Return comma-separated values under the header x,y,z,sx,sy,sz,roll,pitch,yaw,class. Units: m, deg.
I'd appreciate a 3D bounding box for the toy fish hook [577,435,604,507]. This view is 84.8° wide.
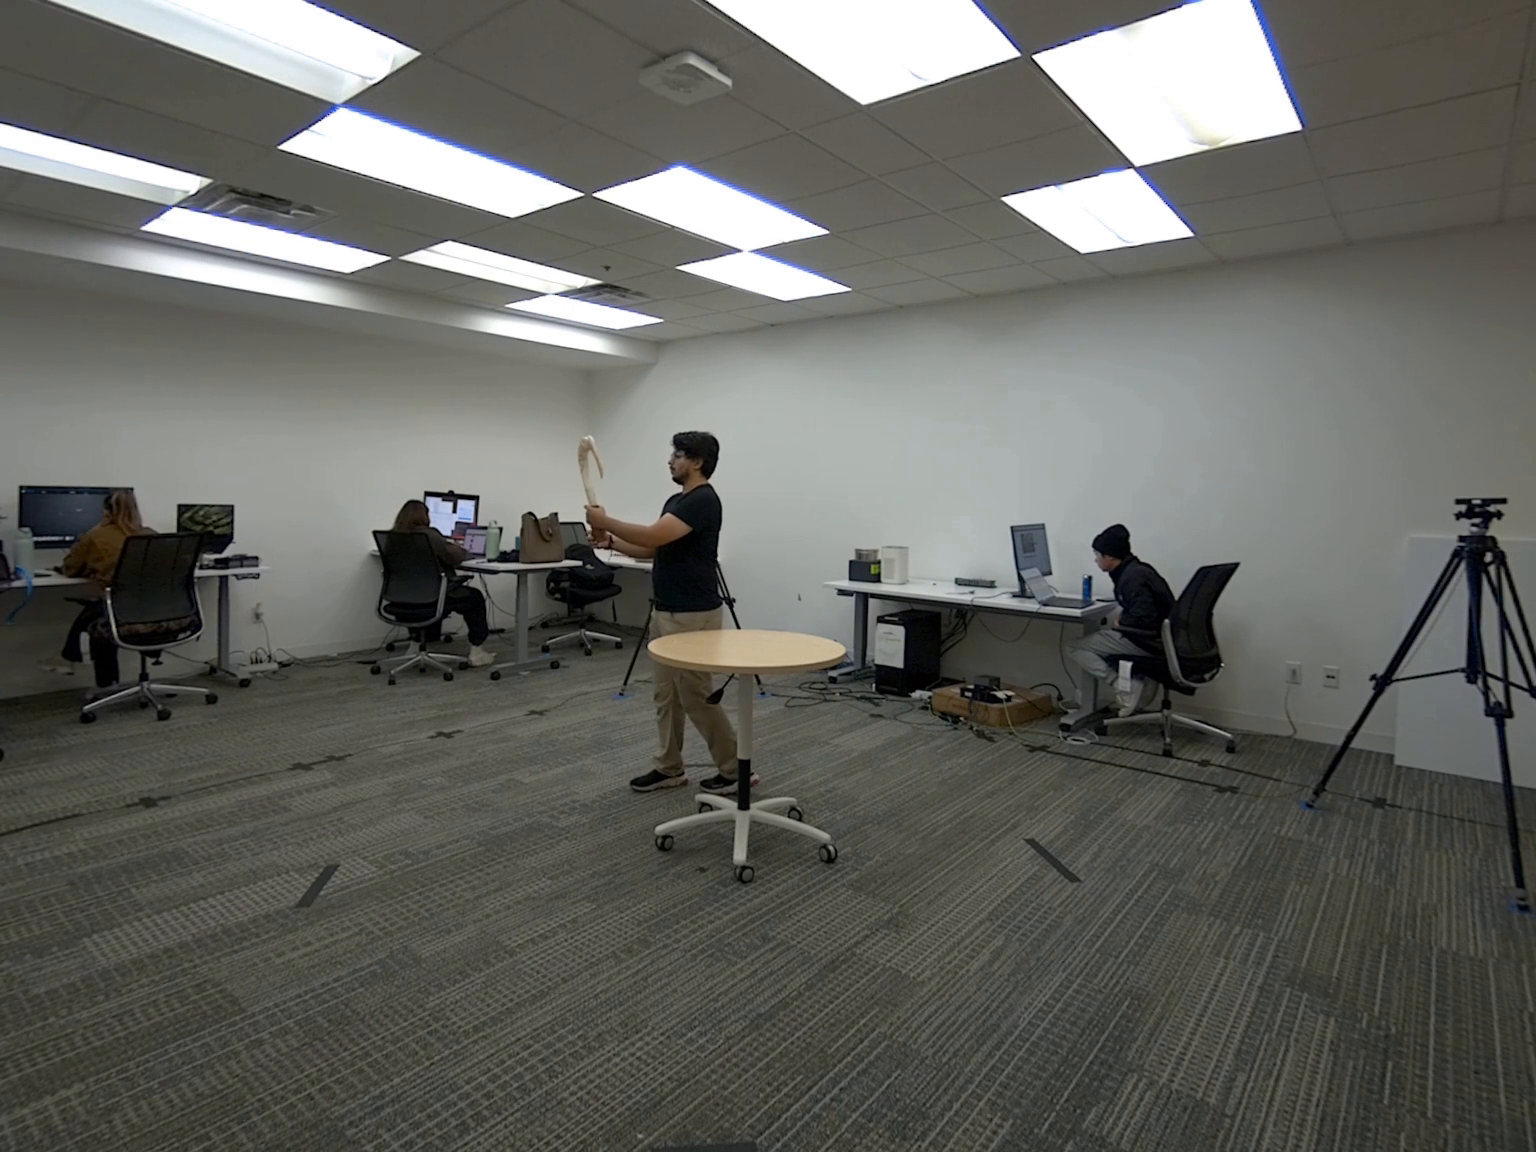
x,y,z,sx,sy,sz,roll,pitch,yaw,class
-0.792,-0.376,3.810,0.047,0.504,0.230,-12,6,-26,toy fish hook
